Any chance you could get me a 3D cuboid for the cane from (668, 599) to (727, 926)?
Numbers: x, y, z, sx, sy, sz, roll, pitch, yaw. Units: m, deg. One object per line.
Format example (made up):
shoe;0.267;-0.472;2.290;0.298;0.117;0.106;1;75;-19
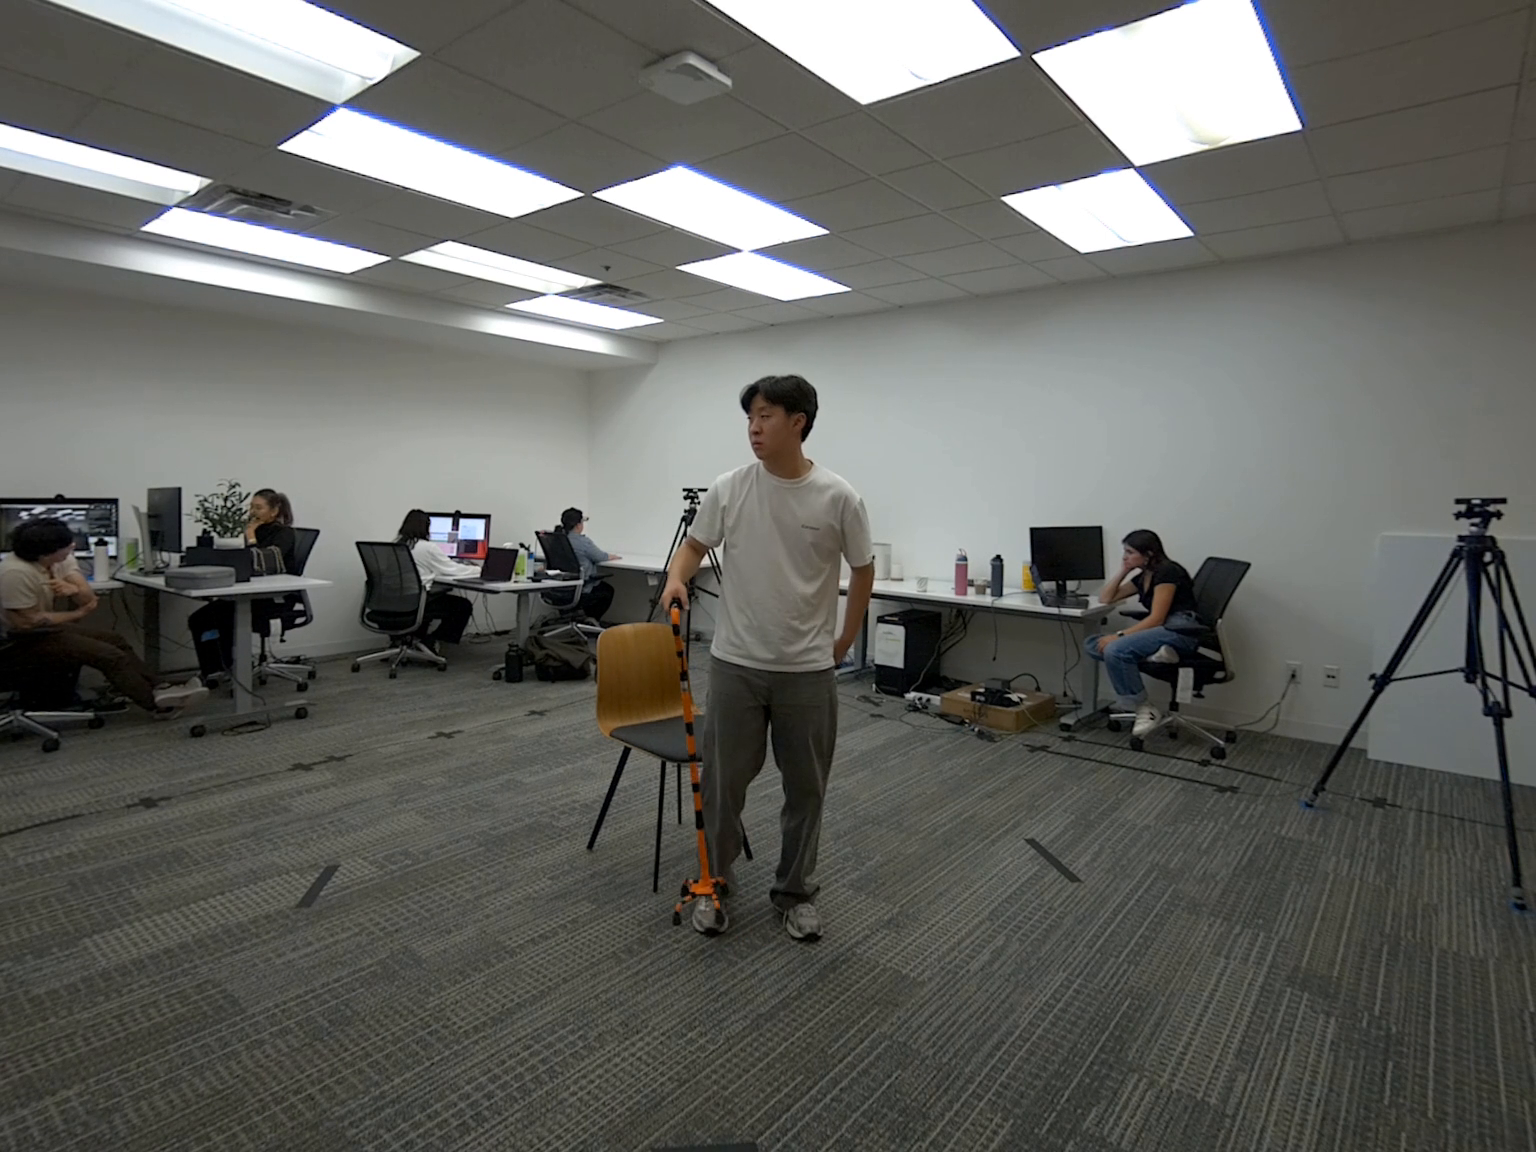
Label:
cane;-0.243;0.533;2.489;0.151;0.905;0.208;-5;2;-6
